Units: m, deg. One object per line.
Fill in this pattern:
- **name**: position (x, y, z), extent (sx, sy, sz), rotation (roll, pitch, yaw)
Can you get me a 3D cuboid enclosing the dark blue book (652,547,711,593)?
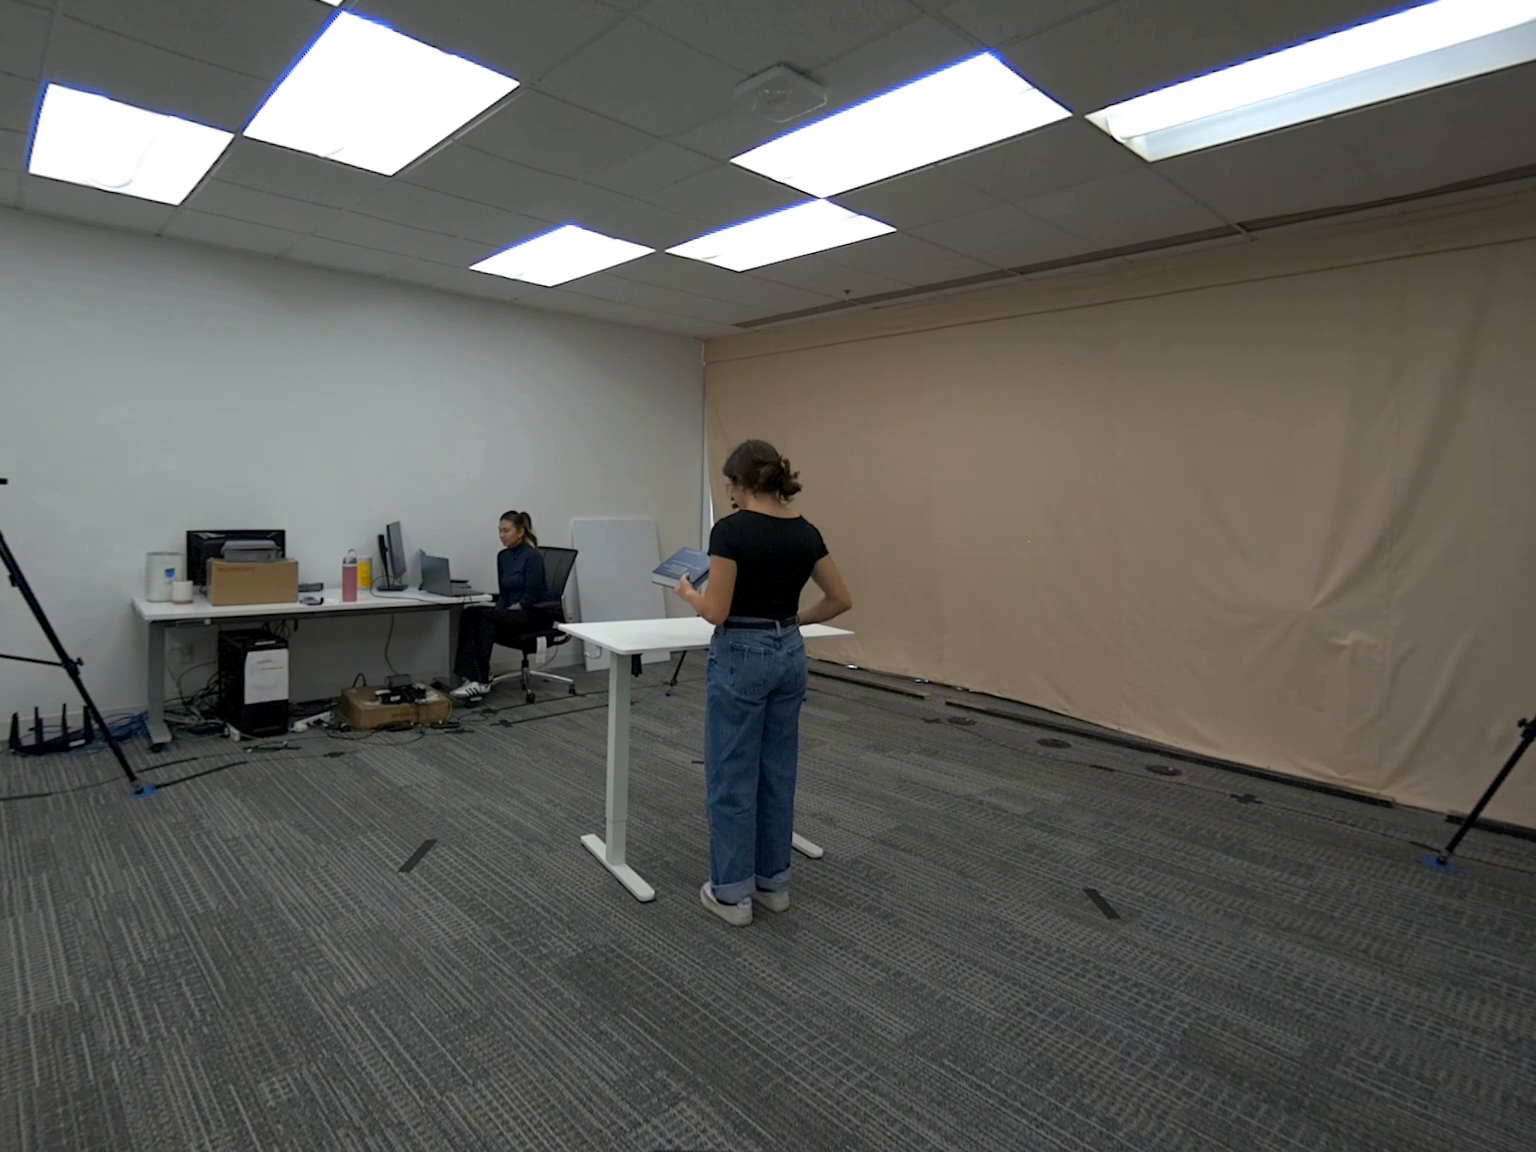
- **dark blue book**: position (-0.280, -0.023, 3.019), extent (0.166, 0.044, 0.245), rotation (11, 27, 17)
